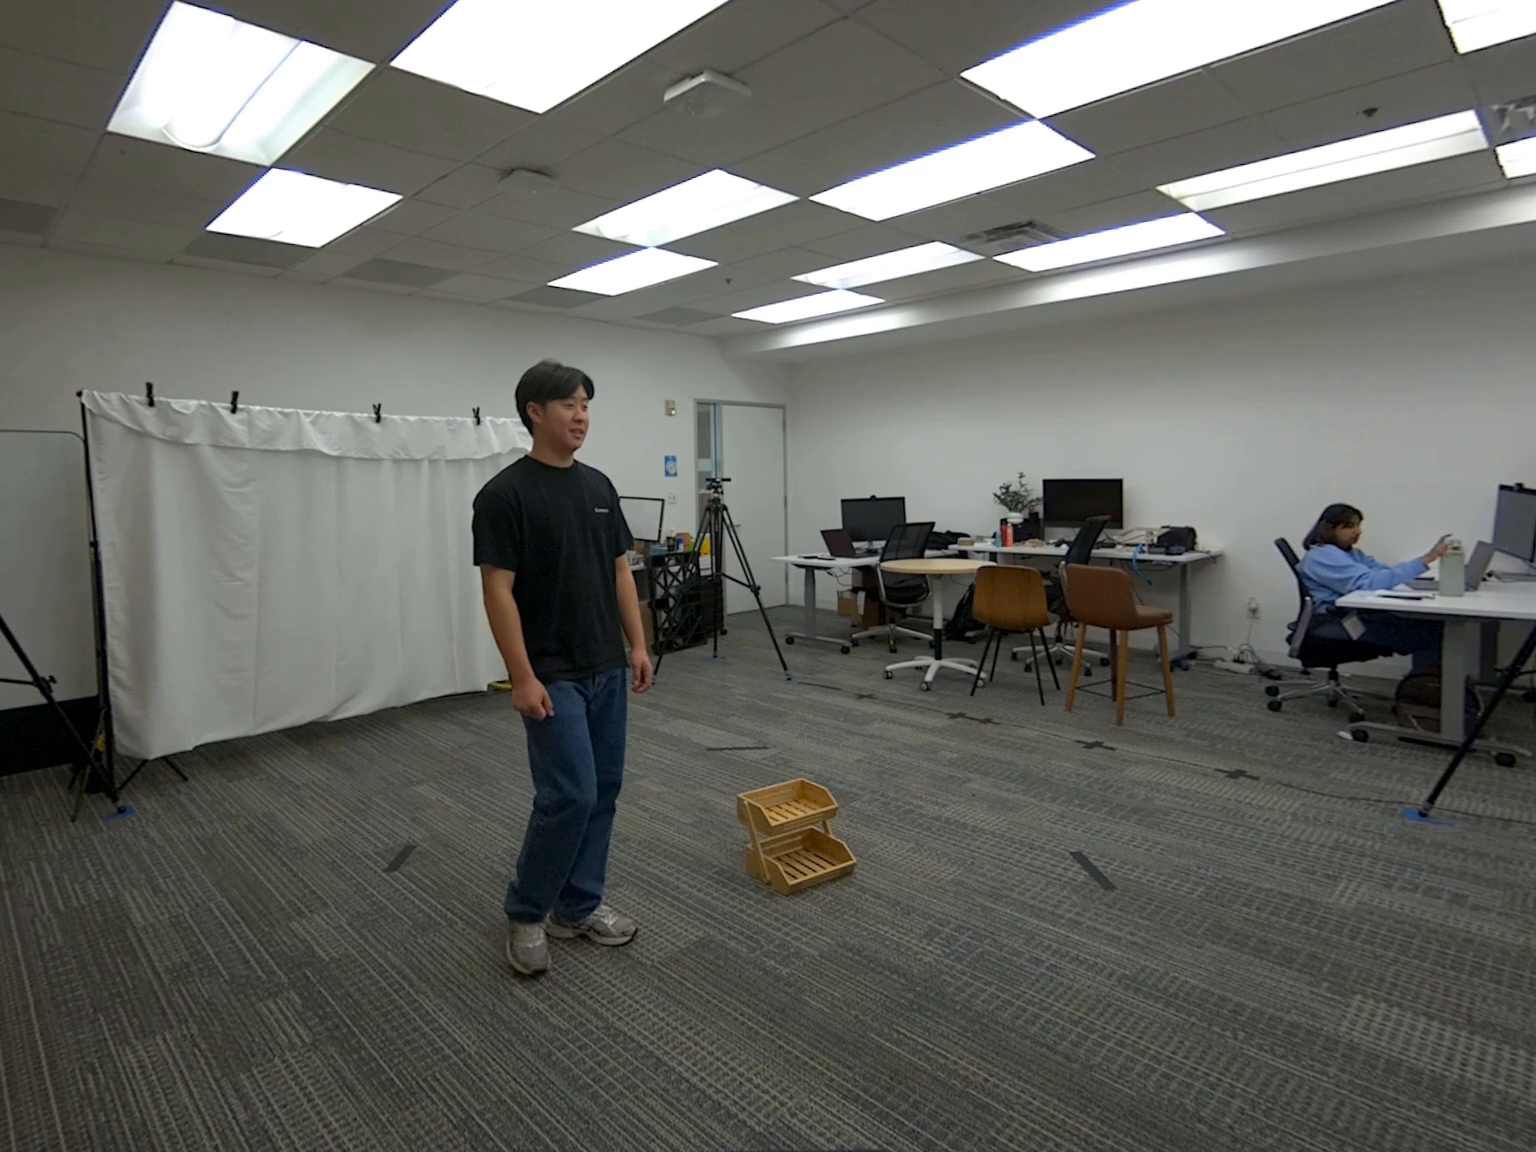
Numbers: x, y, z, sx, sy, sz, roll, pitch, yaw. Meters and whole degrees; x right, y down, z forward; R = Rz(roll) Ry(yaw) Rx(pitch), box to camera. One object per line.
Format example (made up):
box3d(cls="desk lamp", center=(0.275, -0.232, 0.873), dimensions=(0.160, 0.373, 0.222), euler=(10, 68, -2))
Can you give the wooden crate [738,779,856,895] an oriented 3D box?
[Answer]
box3d(cls="wooden crate", center=(0.105, 0.912, 3.034), dimensions=(0.316, 0.272, 0.311), euler=(-5, 6, -35))
